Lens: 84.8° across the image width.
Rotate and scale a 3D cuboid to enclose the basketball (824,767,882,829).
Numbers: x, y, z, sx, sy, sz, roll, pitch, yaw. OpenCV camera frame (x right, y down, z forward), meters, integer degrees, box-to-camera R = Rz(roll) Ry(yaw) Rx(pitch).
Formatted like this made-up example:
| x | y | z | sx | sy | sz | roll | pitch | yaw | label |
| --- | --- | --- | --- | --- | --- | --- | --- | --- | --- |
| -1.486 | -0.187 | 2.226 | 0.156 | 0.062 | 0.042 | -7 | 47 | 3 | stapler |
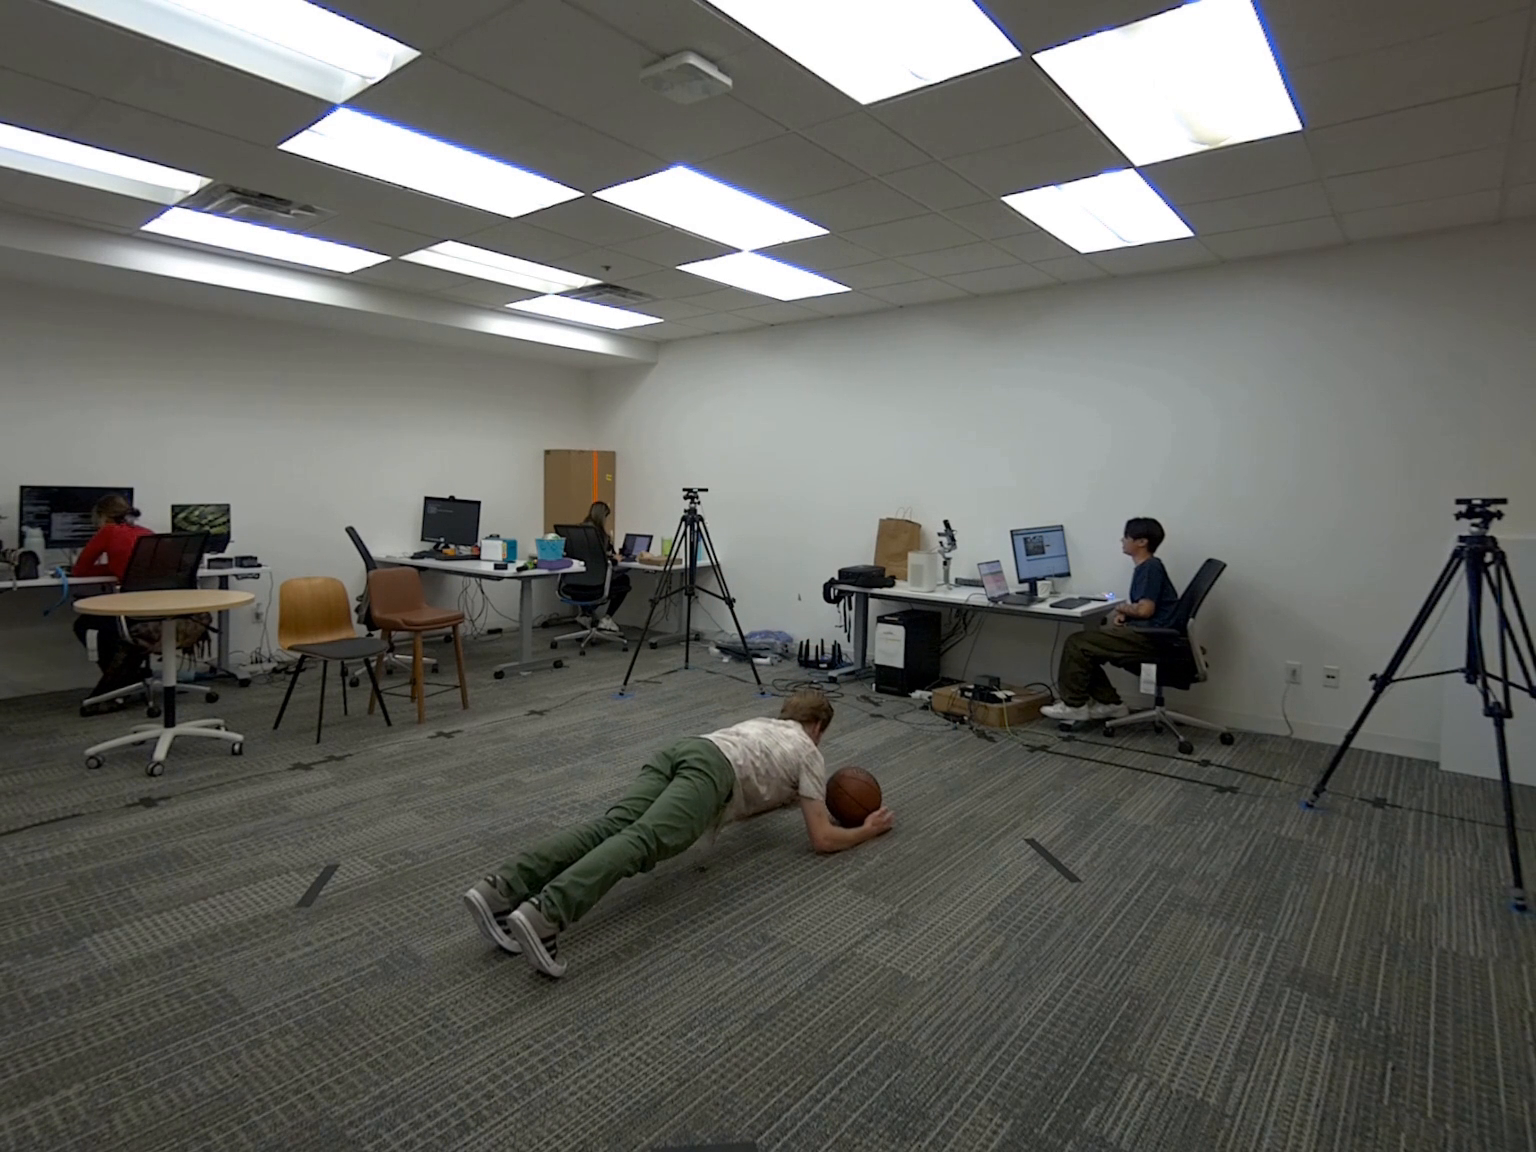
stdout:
| x | y | z | sx | sy | sz | roll | pitch | yaw | label |
| --- | --- | --- | --- | --- | --- | --- | --- | --- | --- |
| 0.348 | 0.915 | 3.559 | 0.235 | 0.235 | 0.237 | 1 | 4 | -2 | basketball |
